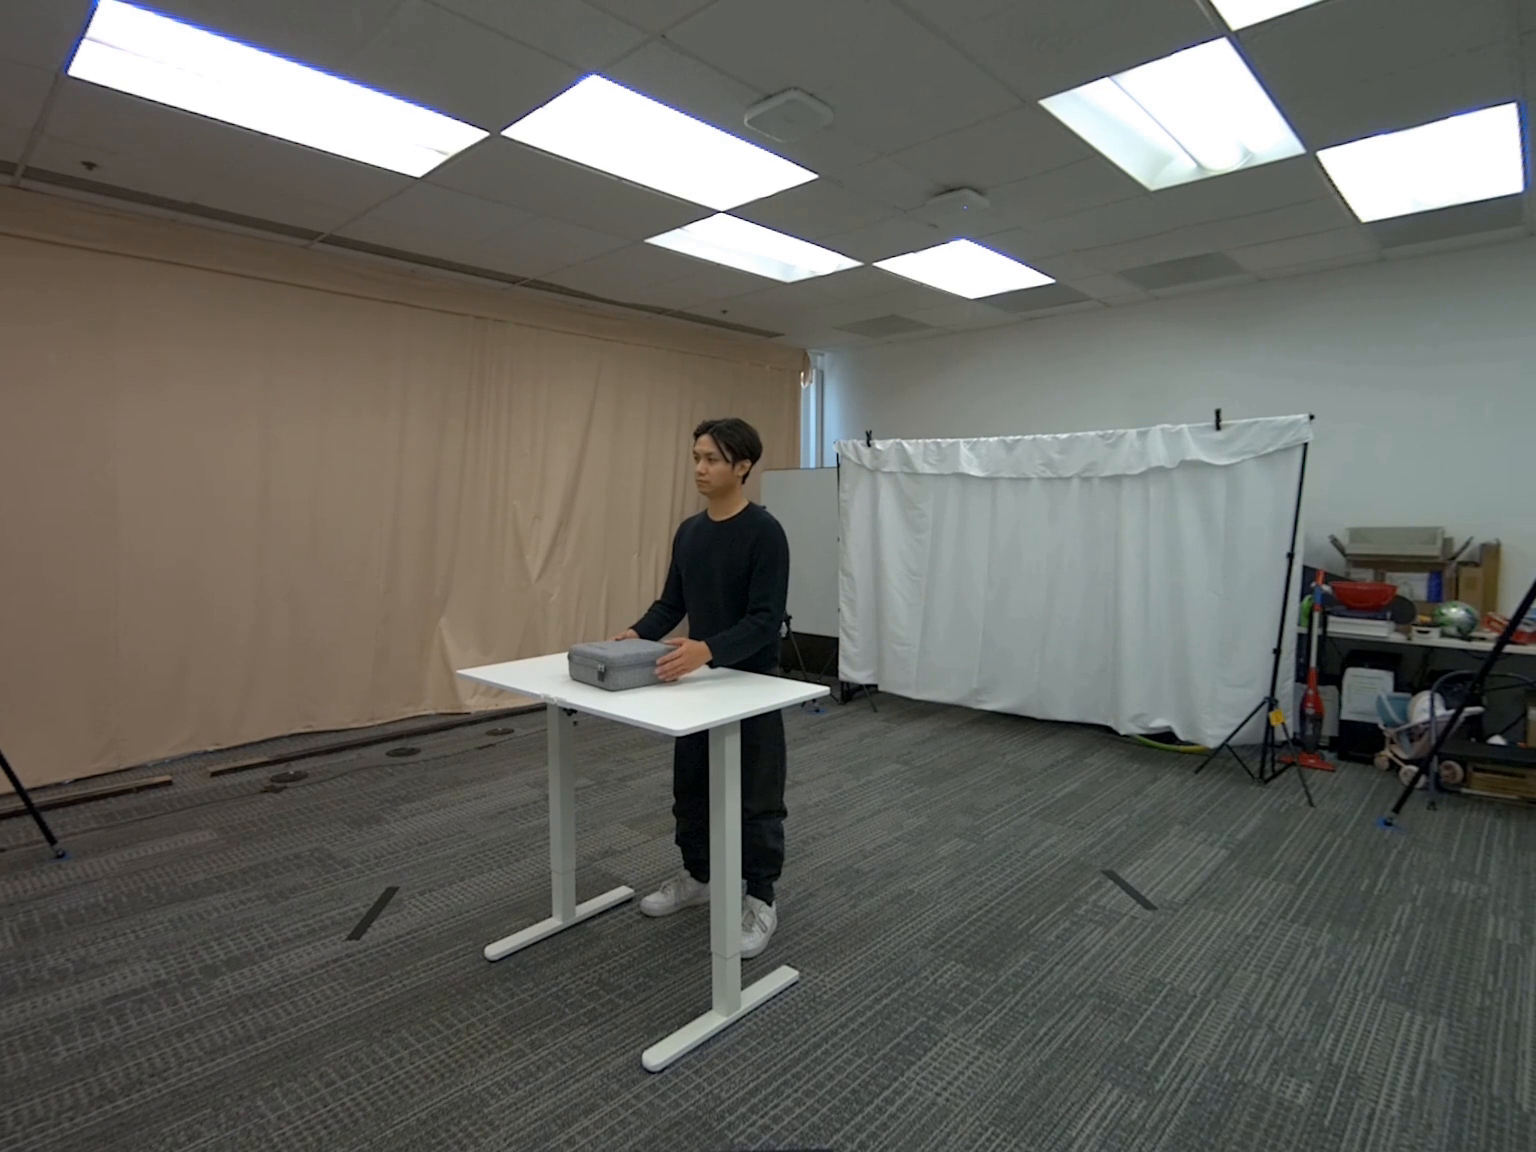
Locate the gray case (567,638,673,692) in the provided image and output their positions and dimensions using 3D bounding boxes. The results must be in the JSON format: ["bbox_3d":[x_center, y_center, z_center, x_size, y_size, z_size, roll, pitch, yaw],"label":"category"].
[{"bbox_3d":[-0.425,0.258,2.477,0.253,0.104,0.265,-5,6,-44],"label":"gray case"}]
